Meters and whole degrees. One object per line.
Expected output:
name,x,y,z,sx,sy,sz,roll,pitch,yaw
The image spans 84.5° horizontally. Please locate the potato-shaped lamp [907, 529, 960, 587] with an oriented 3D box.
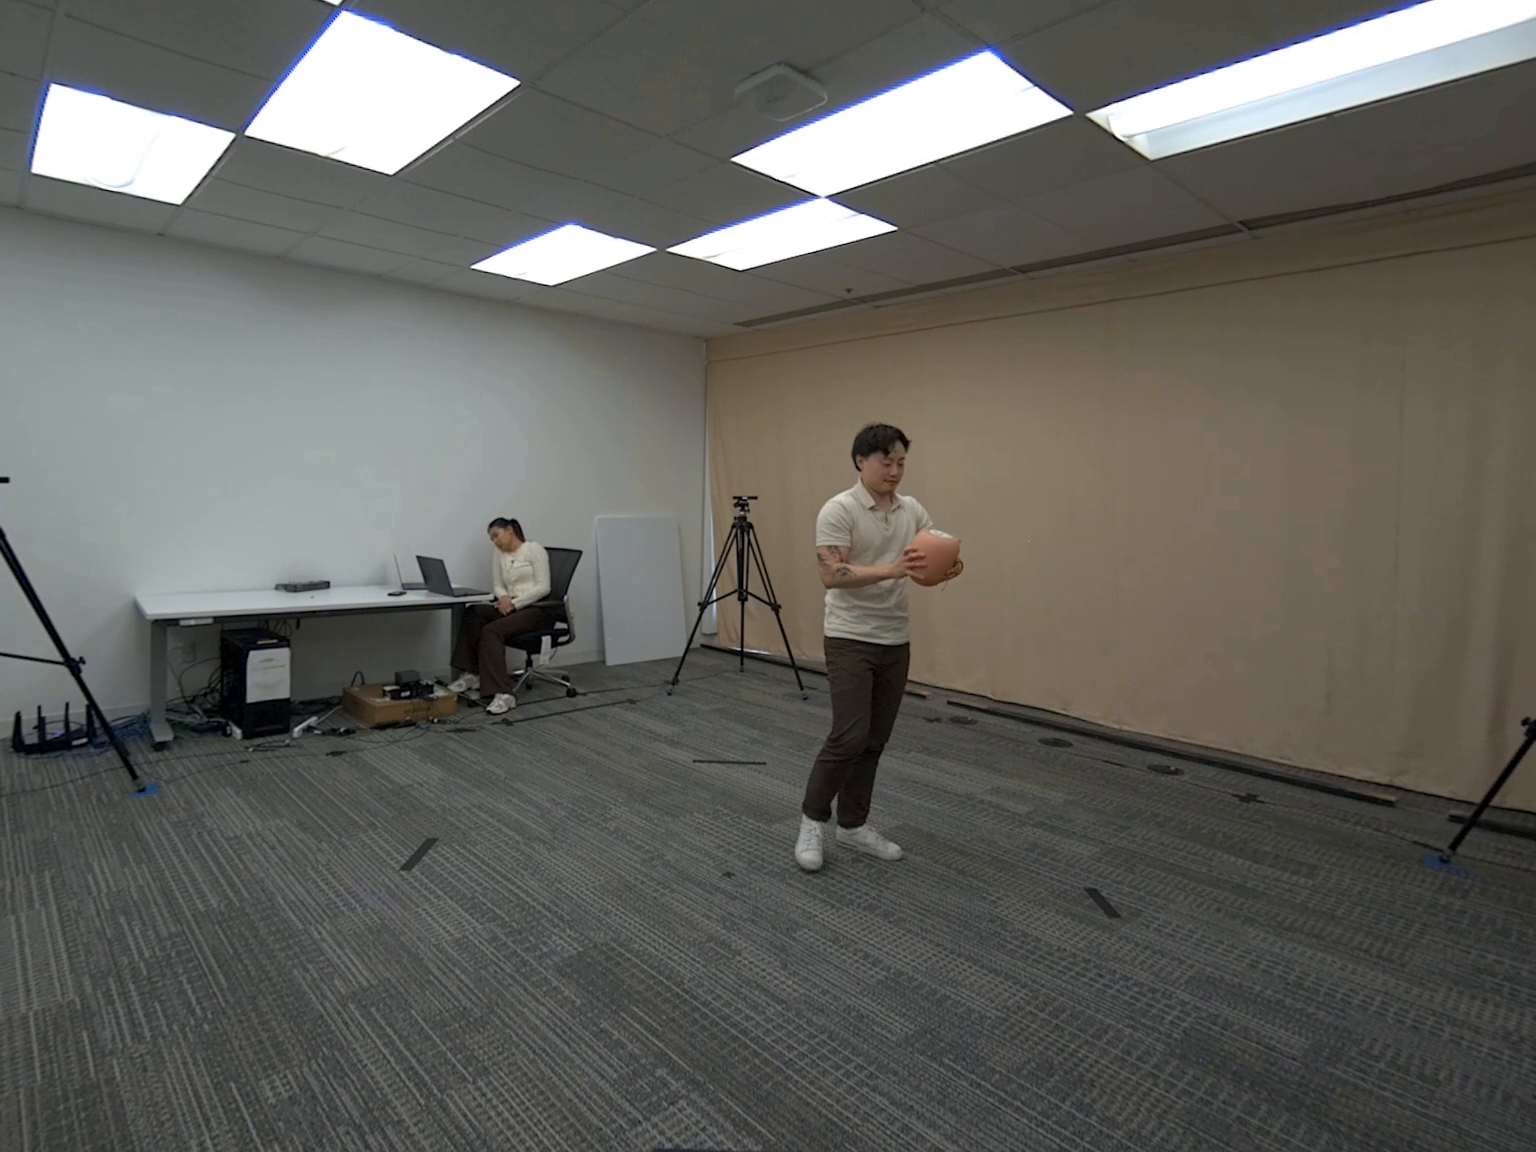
potato-shaped lamp,0.579,-0.056,2.994,0.167,0.196,0.170,19,18,16
